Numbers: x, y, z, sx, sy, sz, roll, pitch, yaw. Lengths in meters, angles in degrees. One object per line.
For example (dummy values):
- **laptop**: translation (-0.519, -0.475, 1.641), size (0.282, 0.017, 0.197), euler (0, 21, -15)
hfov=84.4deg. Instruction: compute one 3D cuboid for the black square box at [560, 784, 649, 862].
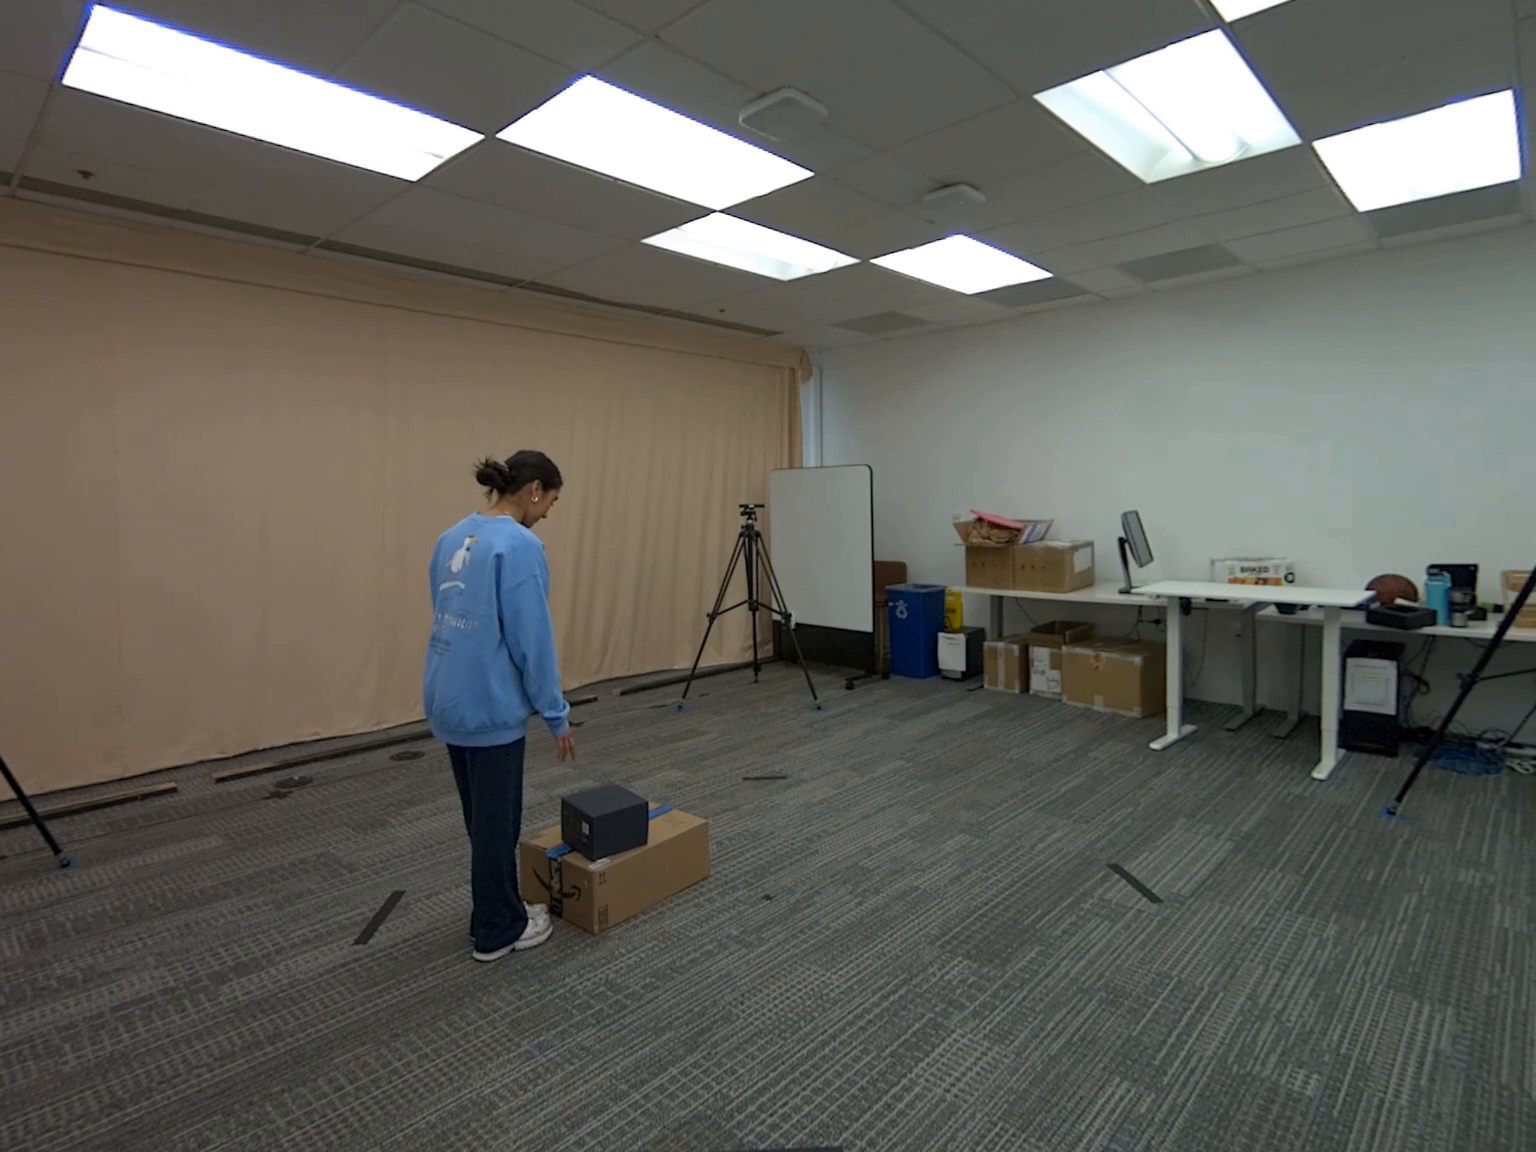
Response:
- **black square box**: translation (-0.570, 0.854, 2.942), size (0.221, 0.155, 0.224), euler (-5, 9, -41)
